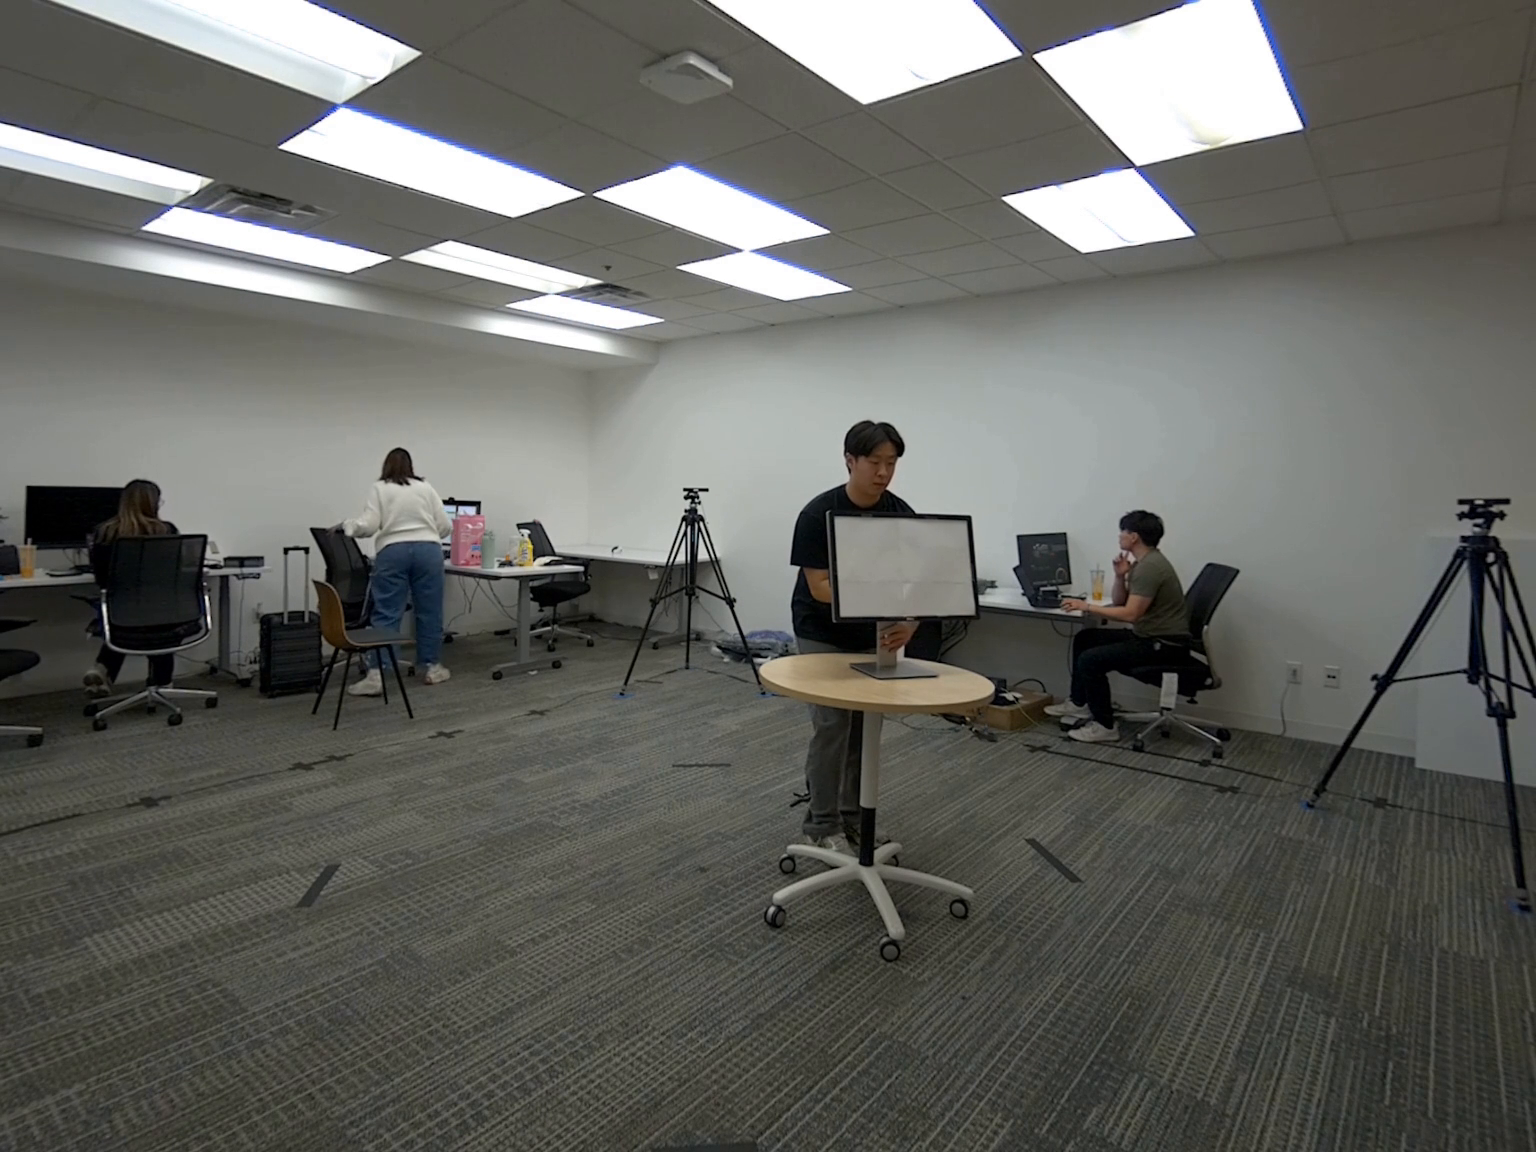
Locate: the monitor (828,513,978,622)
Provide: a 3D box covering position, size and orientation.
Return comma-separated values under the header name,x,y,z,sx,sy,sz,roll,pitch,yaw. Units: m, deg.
name,x,y,z,sx,sy,sz,roll,pitch,yaw
monitor,0.440,0.063,2.885,0.551,0.563,0.227,1,6,-18
